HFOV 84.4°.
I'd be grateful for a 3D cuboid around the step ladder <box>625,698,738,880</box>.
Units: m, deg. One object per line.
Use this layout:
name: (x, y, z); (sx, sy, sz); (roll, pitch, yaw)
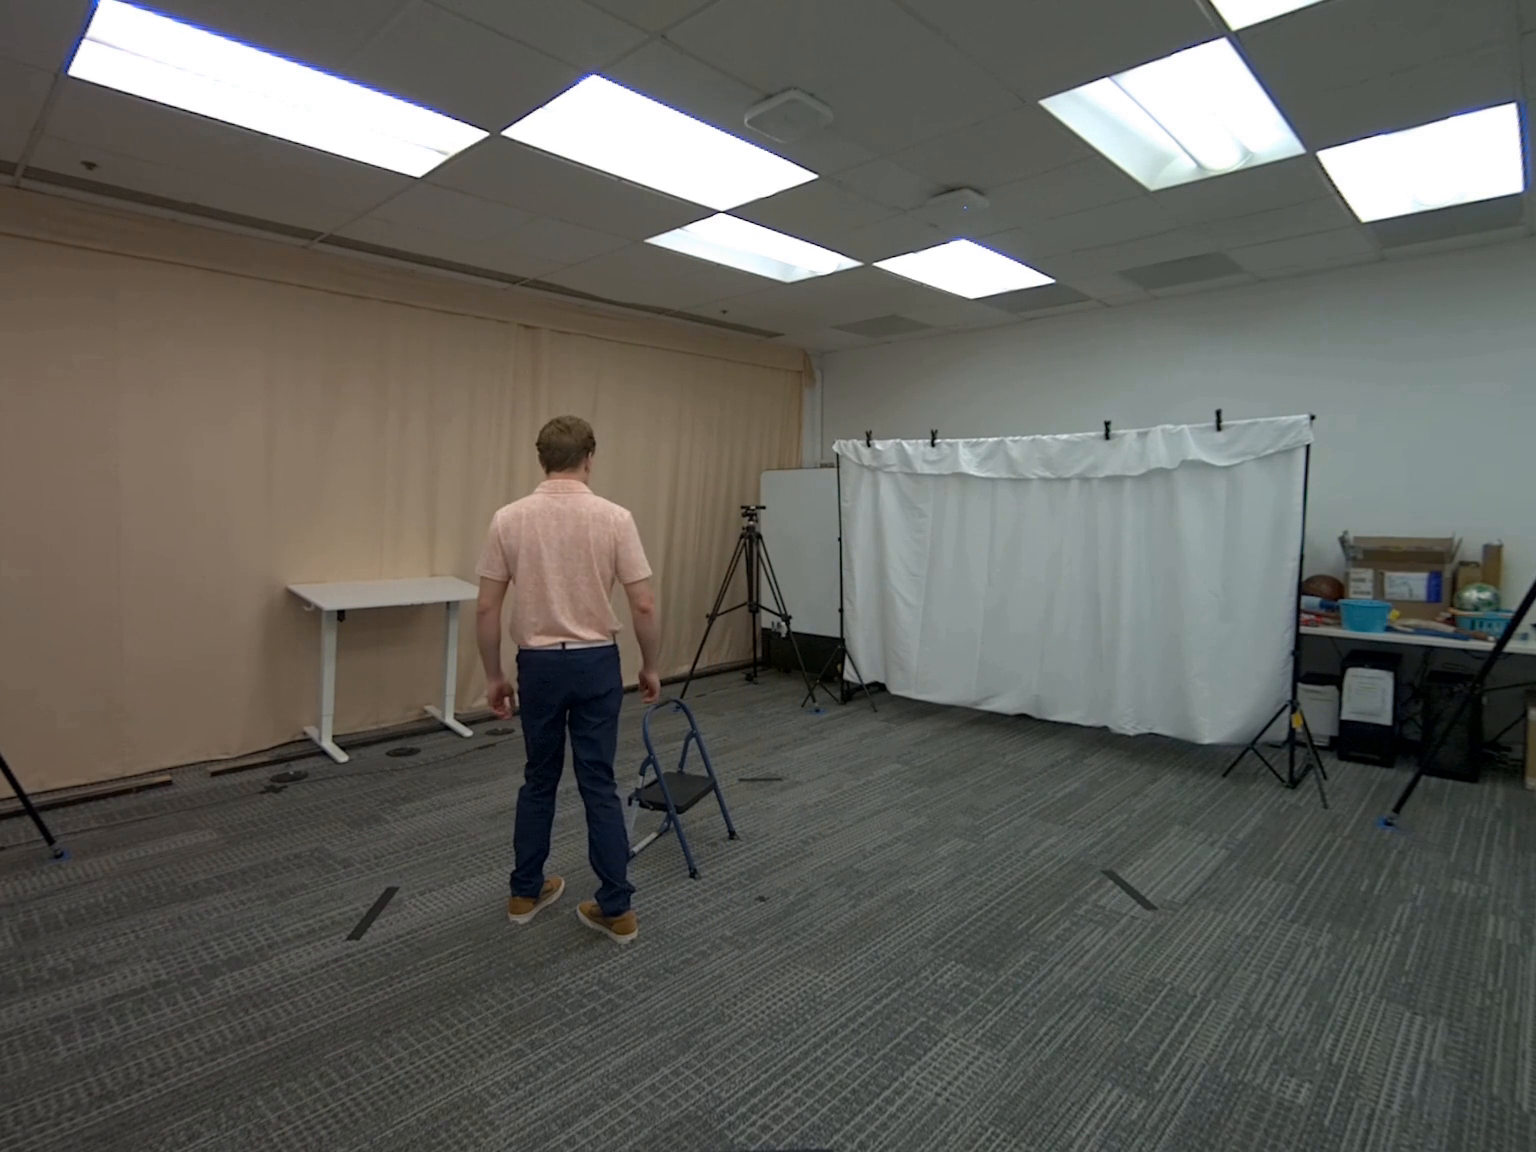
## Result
step ladder: (-0.354, 0.810, 3.392); (0.357, 0.605, 0.422); (1, 3, 20)
